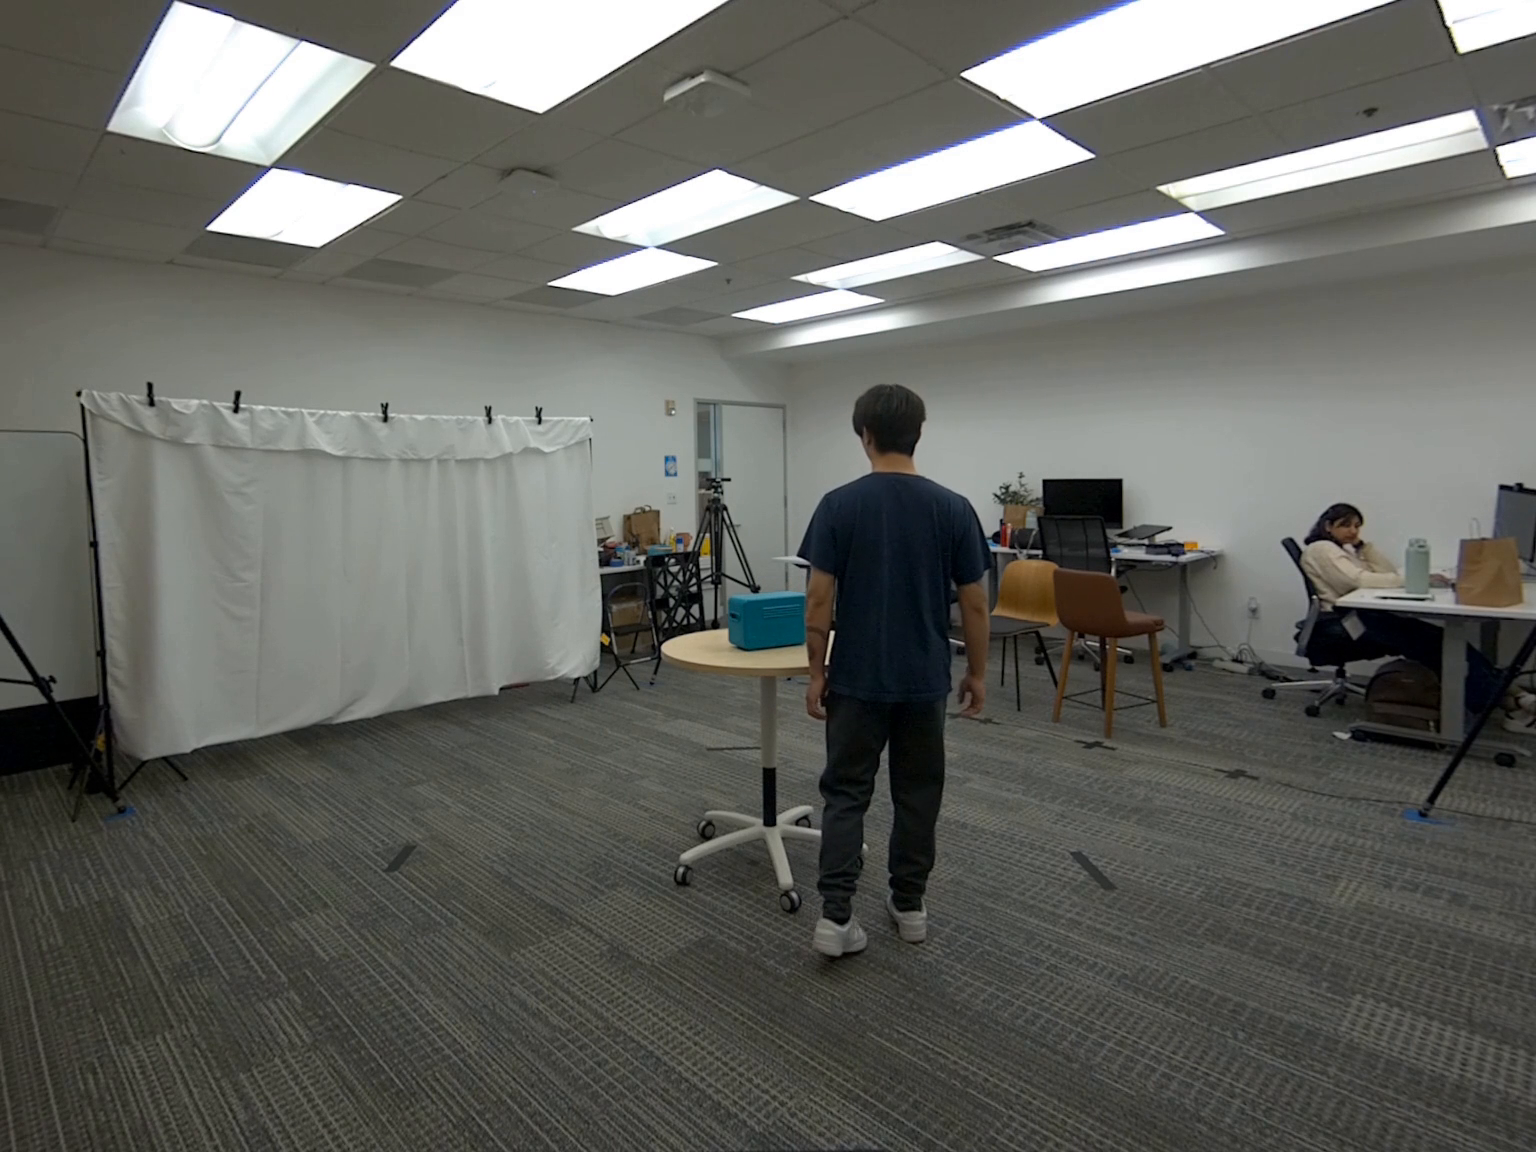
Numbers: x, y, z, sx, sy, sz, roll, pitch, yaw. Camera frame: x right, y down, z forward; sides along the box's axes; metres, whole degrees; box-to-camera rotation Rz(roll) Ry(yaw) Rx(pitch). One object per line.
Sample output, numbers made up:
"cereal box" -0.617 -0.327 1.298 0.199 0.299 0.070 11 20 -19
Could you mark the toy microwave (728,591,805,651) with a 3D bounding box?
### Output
"toy microwave" 0.002 0.155 3.057 0.280 0.183 0.156 -3 4 -27
